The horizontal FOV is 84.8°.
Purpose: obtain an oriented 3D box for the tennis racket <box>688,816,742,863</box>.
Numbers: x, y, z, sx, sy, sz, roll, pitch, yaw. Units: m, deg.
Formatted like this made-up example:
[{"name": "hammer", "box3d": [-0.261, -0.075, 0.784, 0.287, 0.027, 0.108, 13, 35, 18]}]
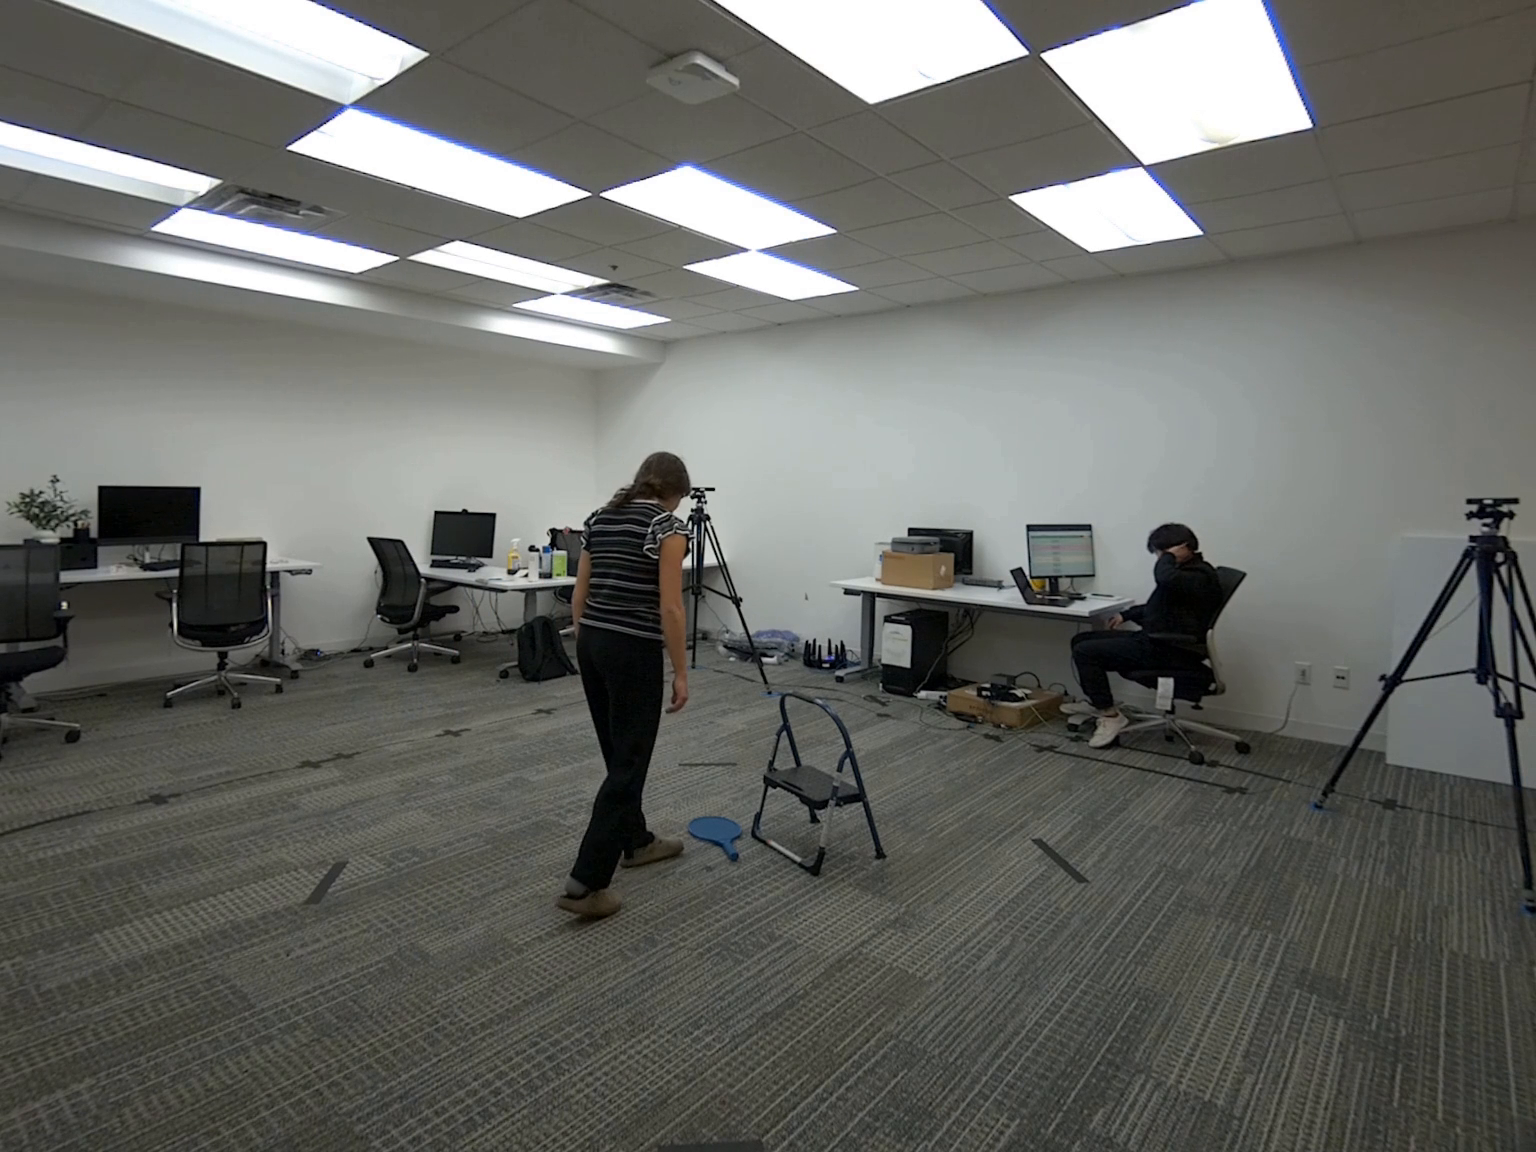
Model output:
[{"name": "tennis racket", "box3d": [-0.206, 1.027, 3.380, 0.210, 0.031, 0.441, -2, 5, -16]}]
